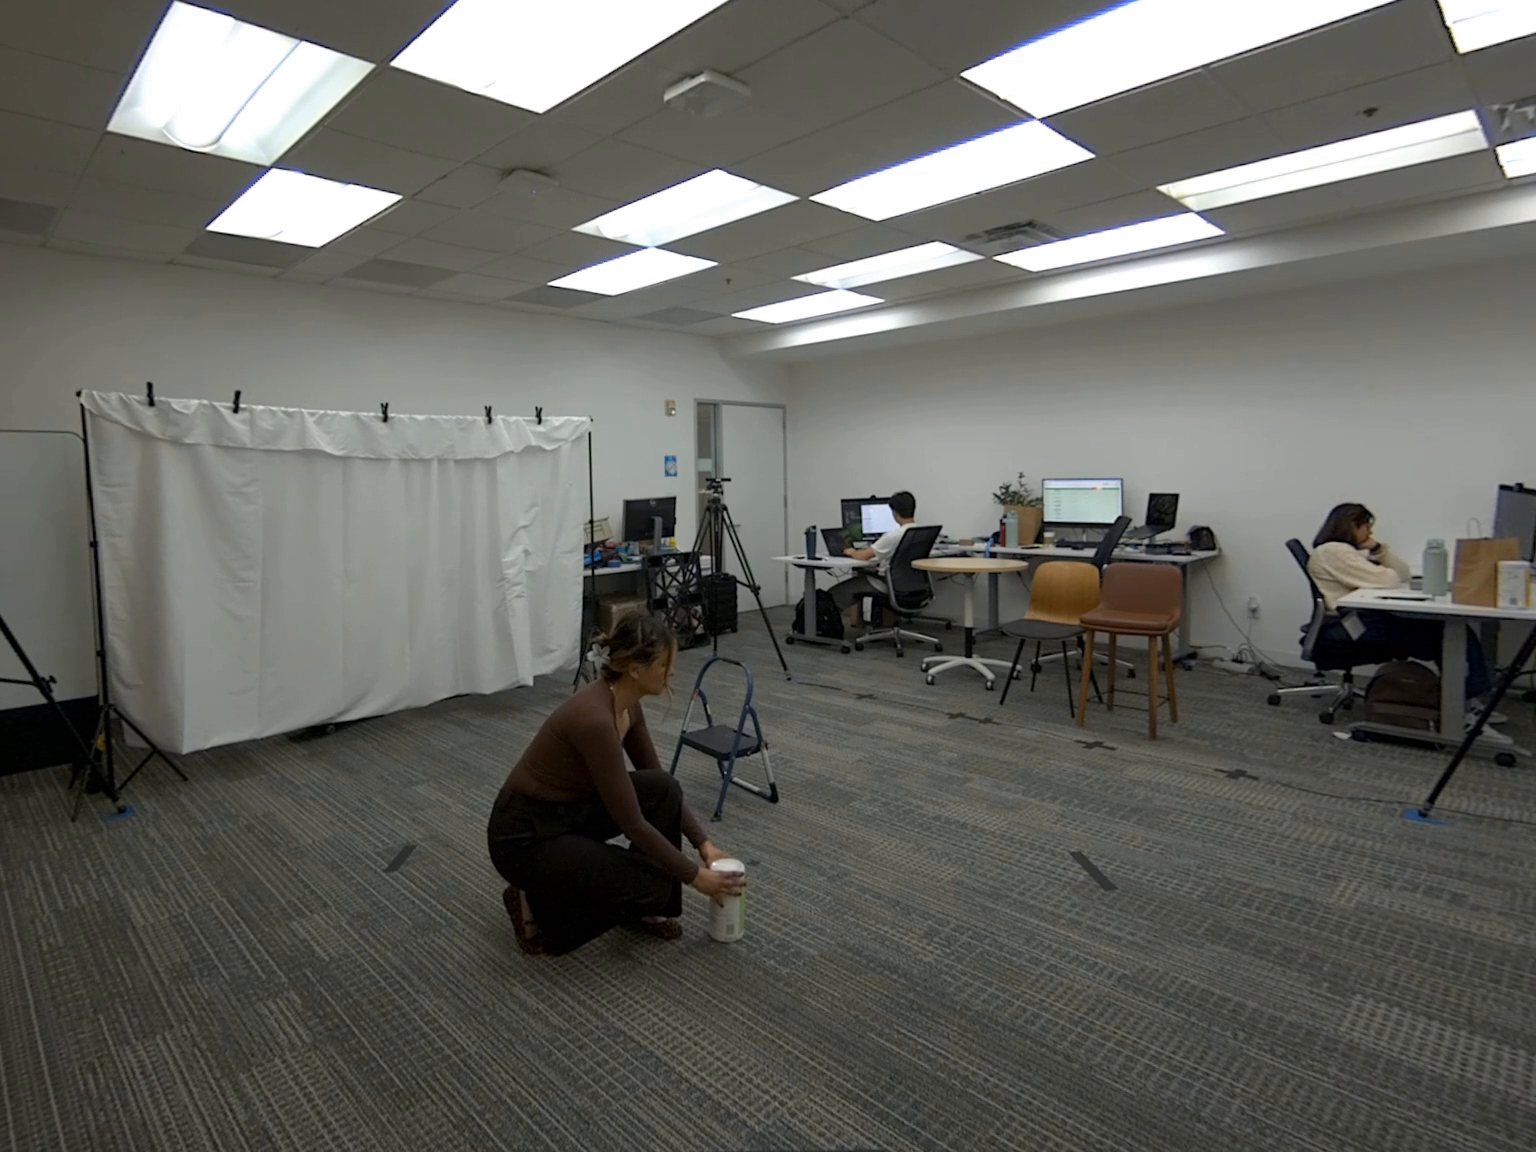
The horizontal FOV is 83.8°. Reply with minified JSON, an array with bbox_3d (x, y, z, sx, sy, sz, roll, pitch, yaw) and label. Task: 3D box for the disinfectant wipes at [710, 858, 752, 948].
[{"bbox_3d":[-0.116,0.992,2.608,0.118,0.217,0.118,1,3,-2],"label":"disinfectant wipes"}]
